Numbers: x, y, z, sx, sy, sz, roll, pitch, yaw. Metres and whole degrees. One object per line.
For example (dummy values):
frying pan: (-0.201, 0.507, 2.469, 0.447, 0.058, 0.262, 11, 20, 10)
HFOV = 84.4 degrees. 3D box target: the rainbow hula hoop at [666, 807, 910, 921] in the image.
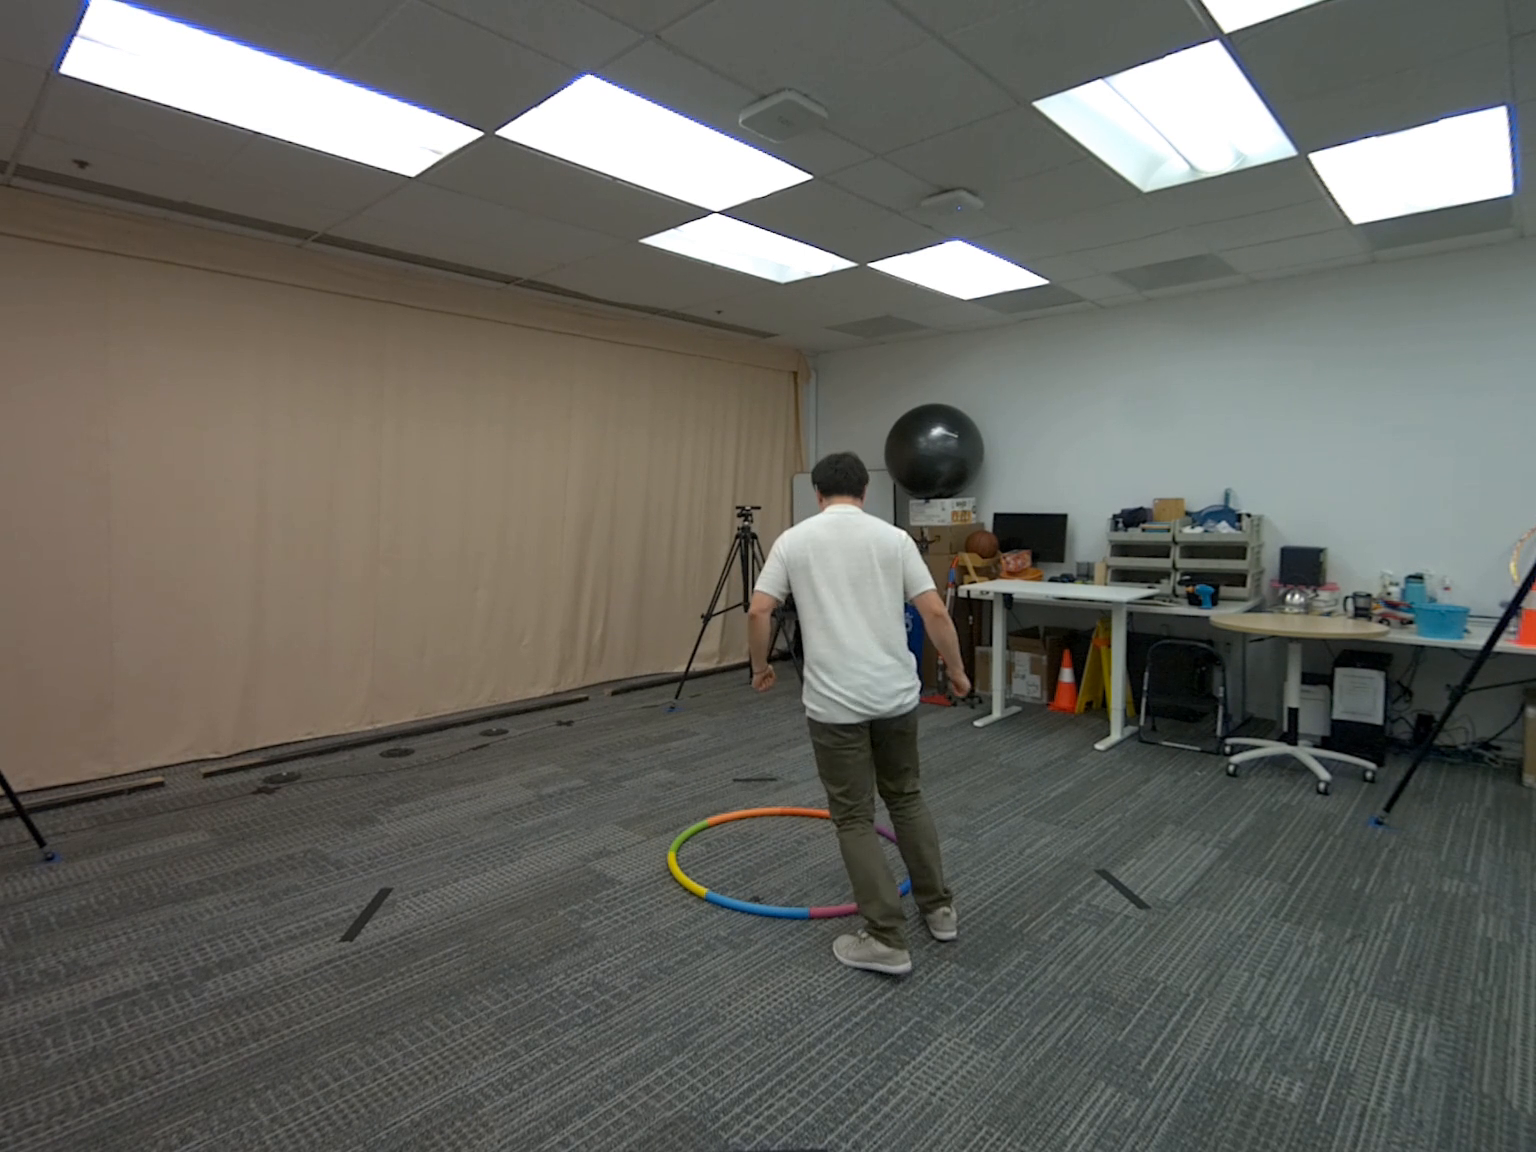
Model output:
rainbow hula hoop: (0.094, 1.089, 3.317, 0.978, 0.035, 0.982, 0, 5, -2)
